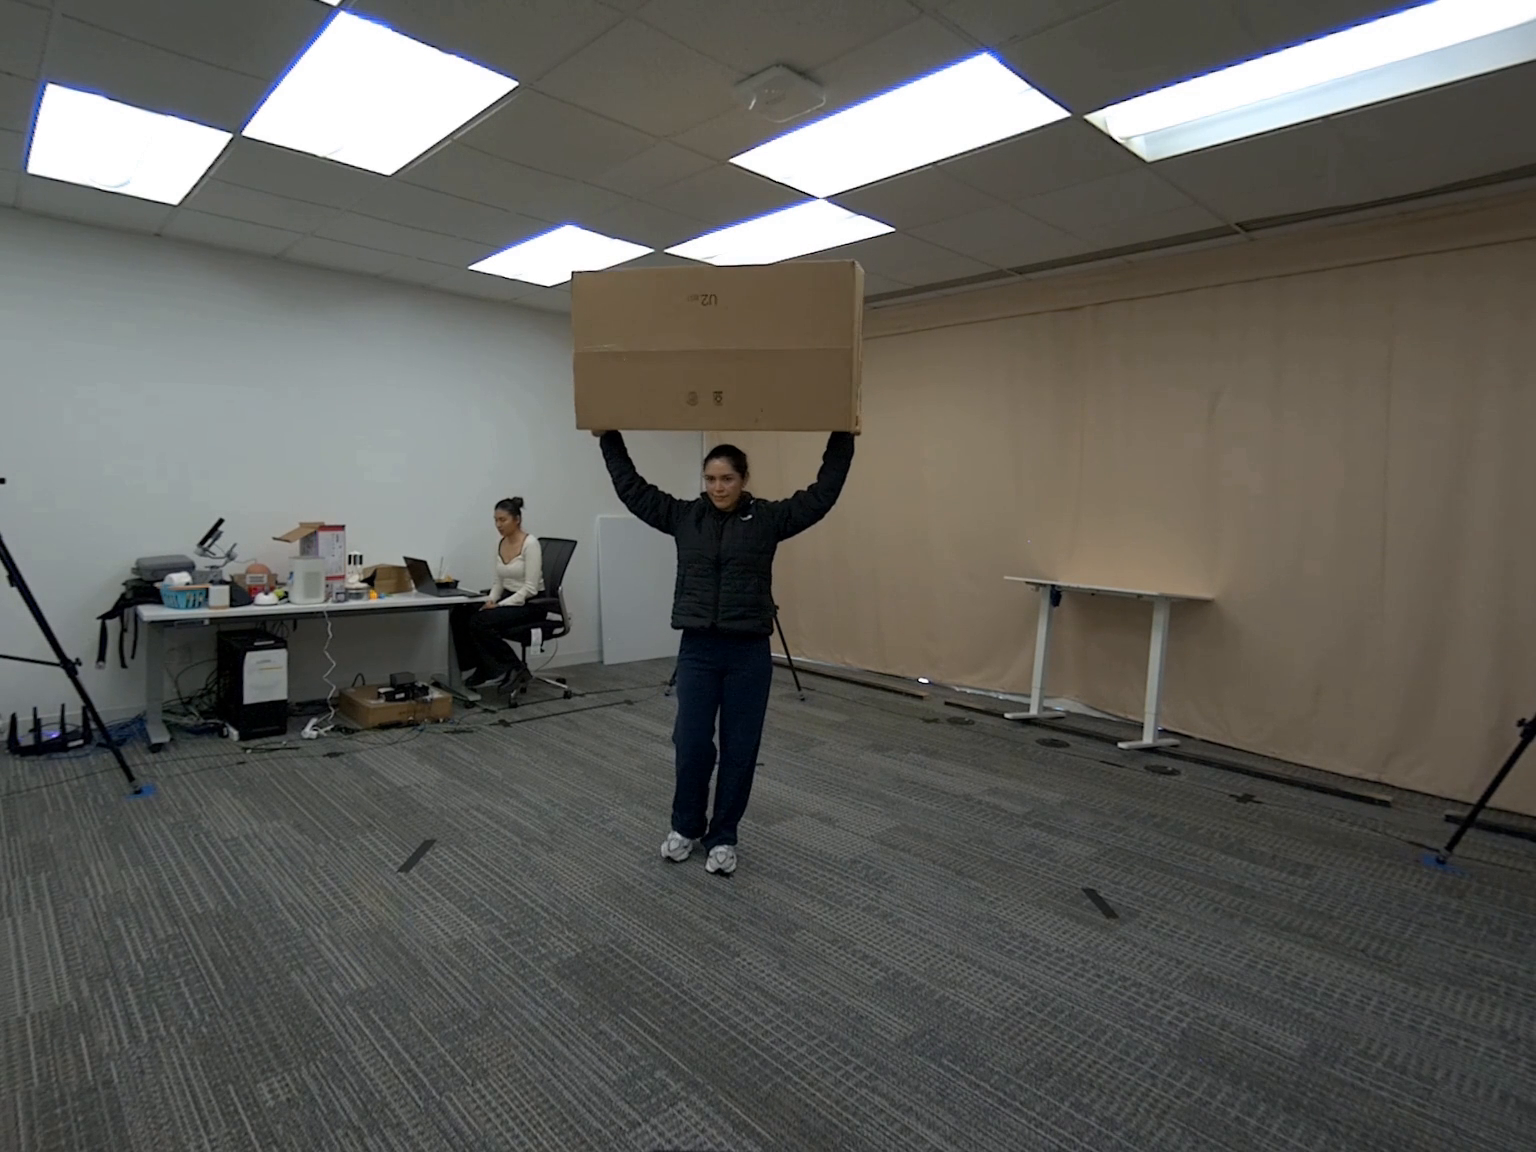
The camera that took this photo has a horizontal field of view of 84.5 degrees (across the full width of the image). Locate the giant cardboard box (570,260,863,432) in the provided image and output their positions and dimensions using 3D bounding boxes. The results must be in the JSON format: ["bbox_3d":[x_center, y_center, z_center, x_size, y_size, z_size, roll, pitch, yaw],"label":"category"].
[{"bbox_3d":[-0.175,-0.841,3.151,1.037,0.579,0.446,3,13,12],"label":"giant cardboard box"}]
